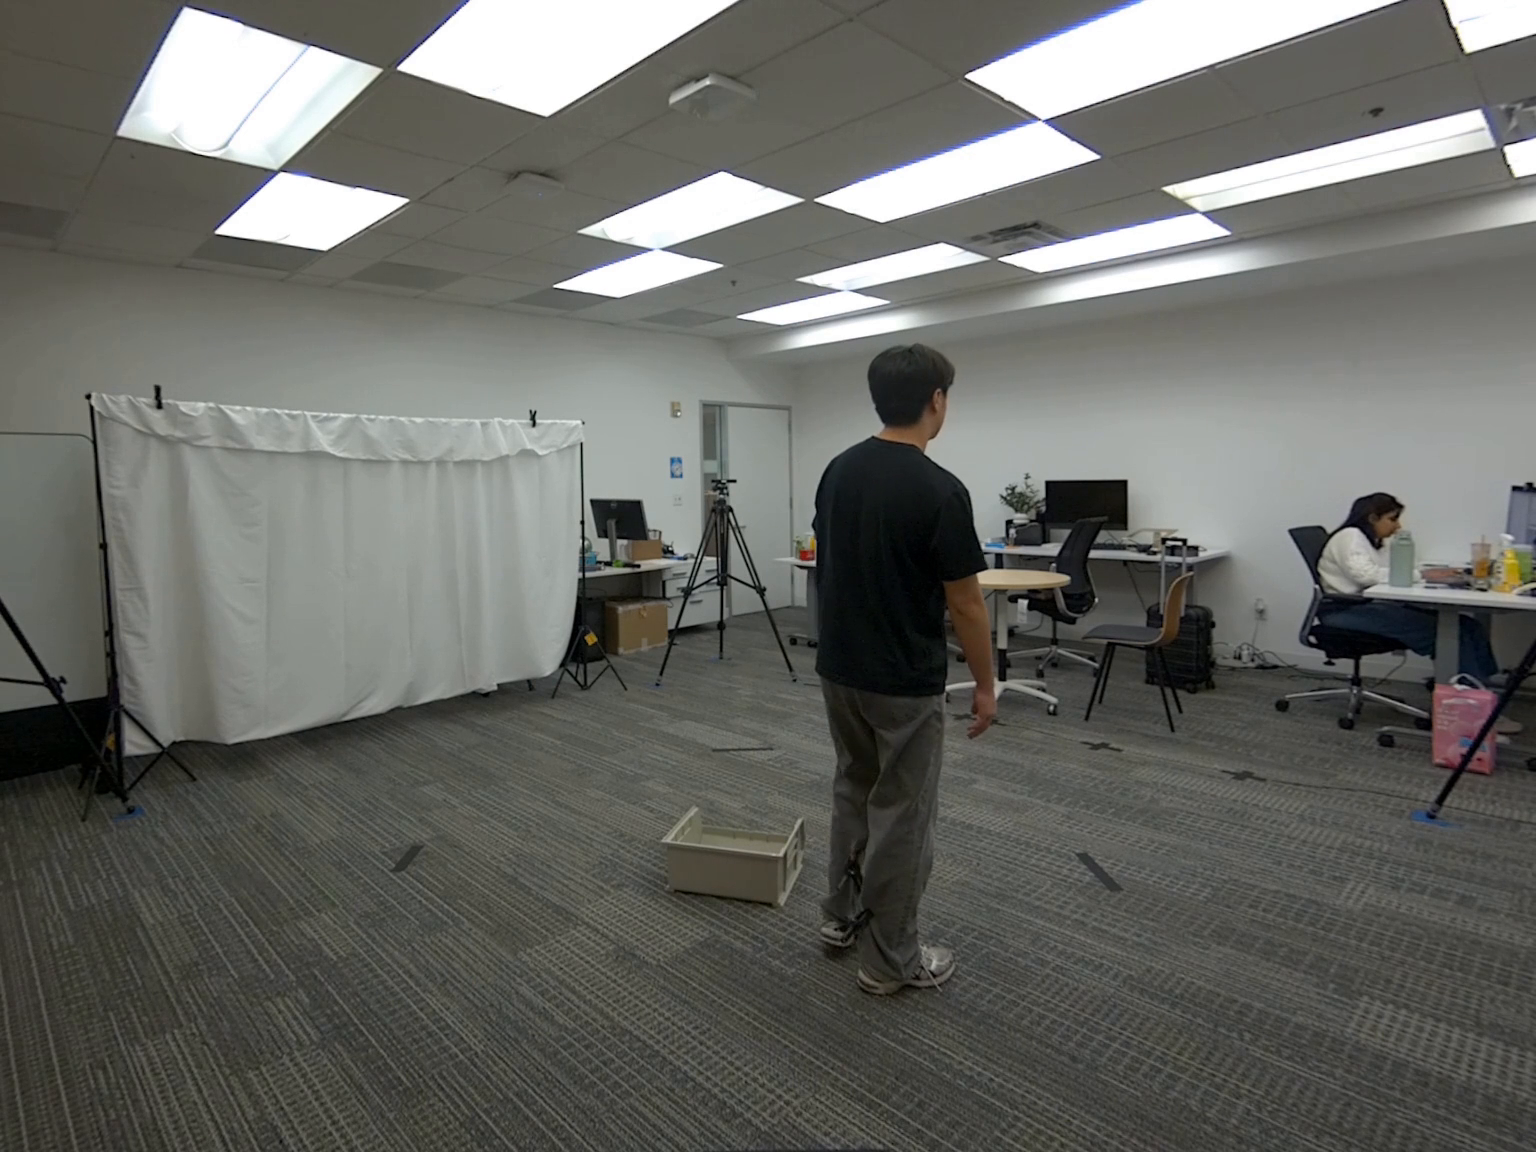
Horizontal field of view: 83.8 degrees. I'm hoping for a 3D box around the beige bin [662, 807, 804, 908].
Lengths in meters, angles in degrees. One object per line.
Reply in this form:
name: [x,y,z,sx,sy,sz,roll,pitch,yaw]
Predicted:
beige bin: [-0.109,0.971,3.010,0.429,0.188,0.373,1,7,16]
